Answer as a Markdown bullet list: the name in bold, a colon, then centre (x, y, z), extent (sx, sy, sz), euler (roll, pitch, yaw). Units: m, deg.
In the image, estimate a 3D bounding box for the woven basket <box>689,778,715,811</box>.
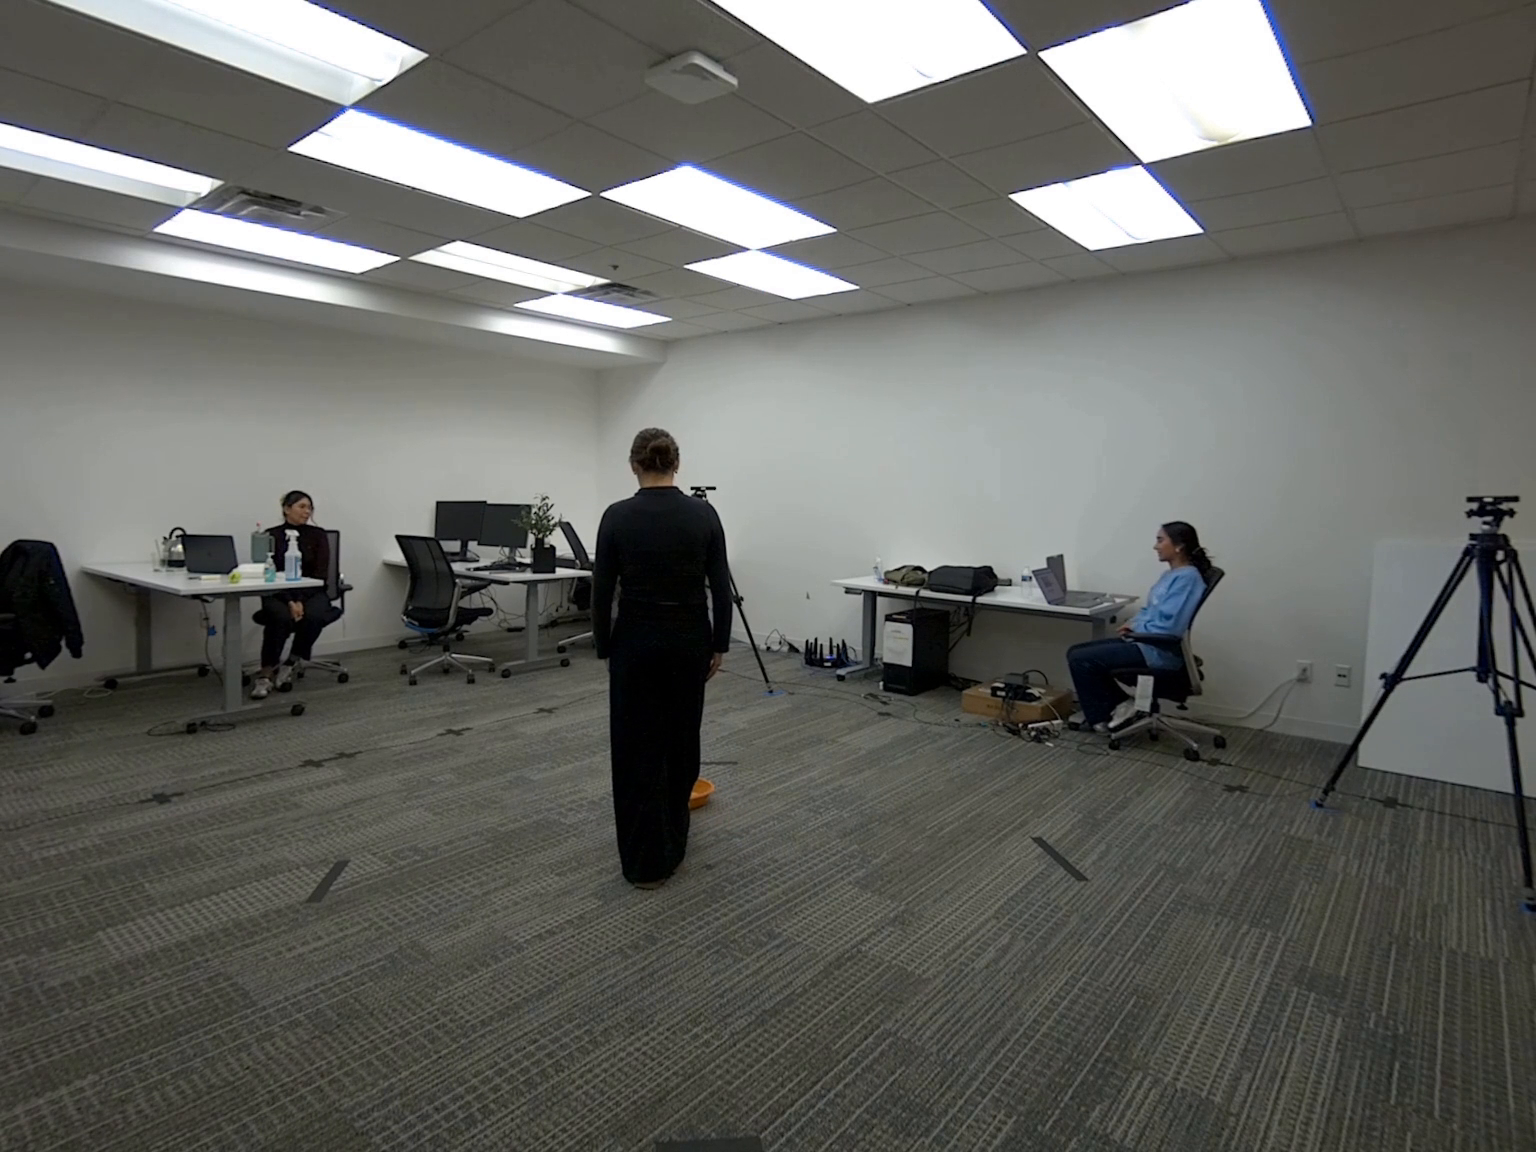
- **woven basket**: centre (-0.409, 0.955, 3.724), extent (0.341, 0.073, 0.261), euler (-3, 8, -34)
